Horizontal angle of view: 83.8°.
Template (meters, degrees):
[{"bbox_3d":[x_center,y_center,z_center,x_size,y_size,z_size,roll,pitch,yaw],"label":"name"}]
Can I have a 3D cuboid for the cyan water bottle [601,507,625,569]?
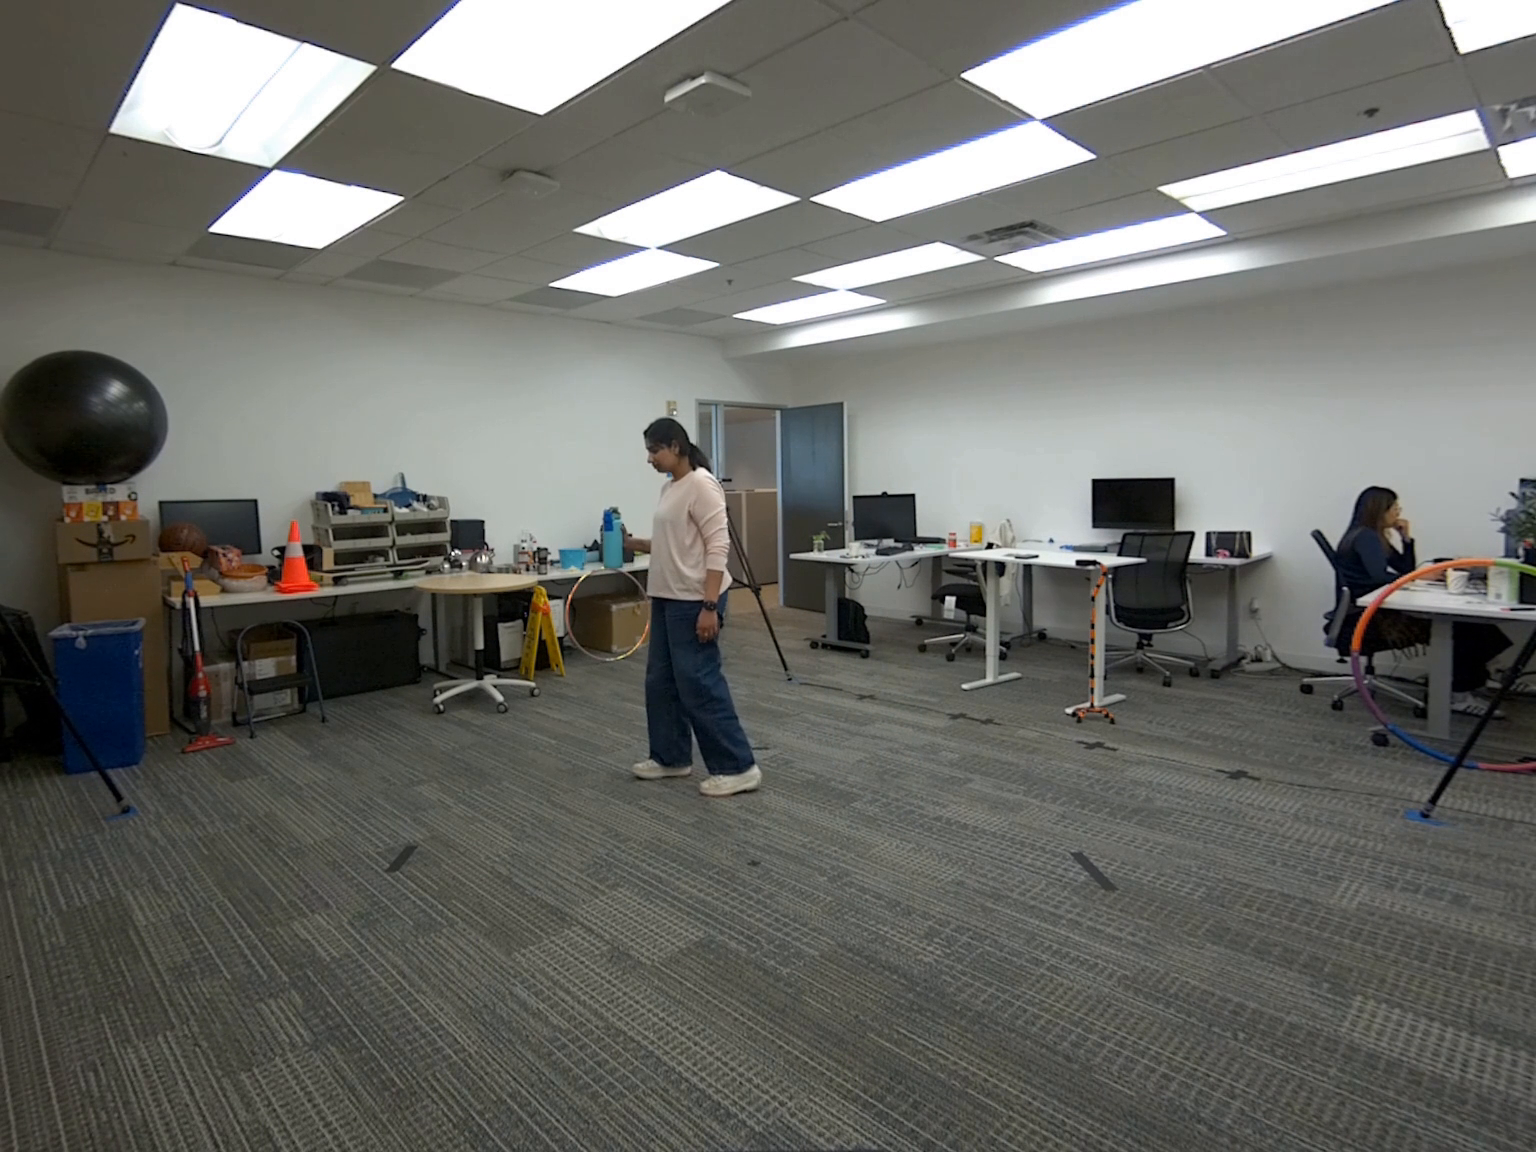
[{"bbox_3d":[-0.713,-0.178,3.946,0.092,0.281,0.093,-2,8,-1],"label":"cyan water bottle"}]
